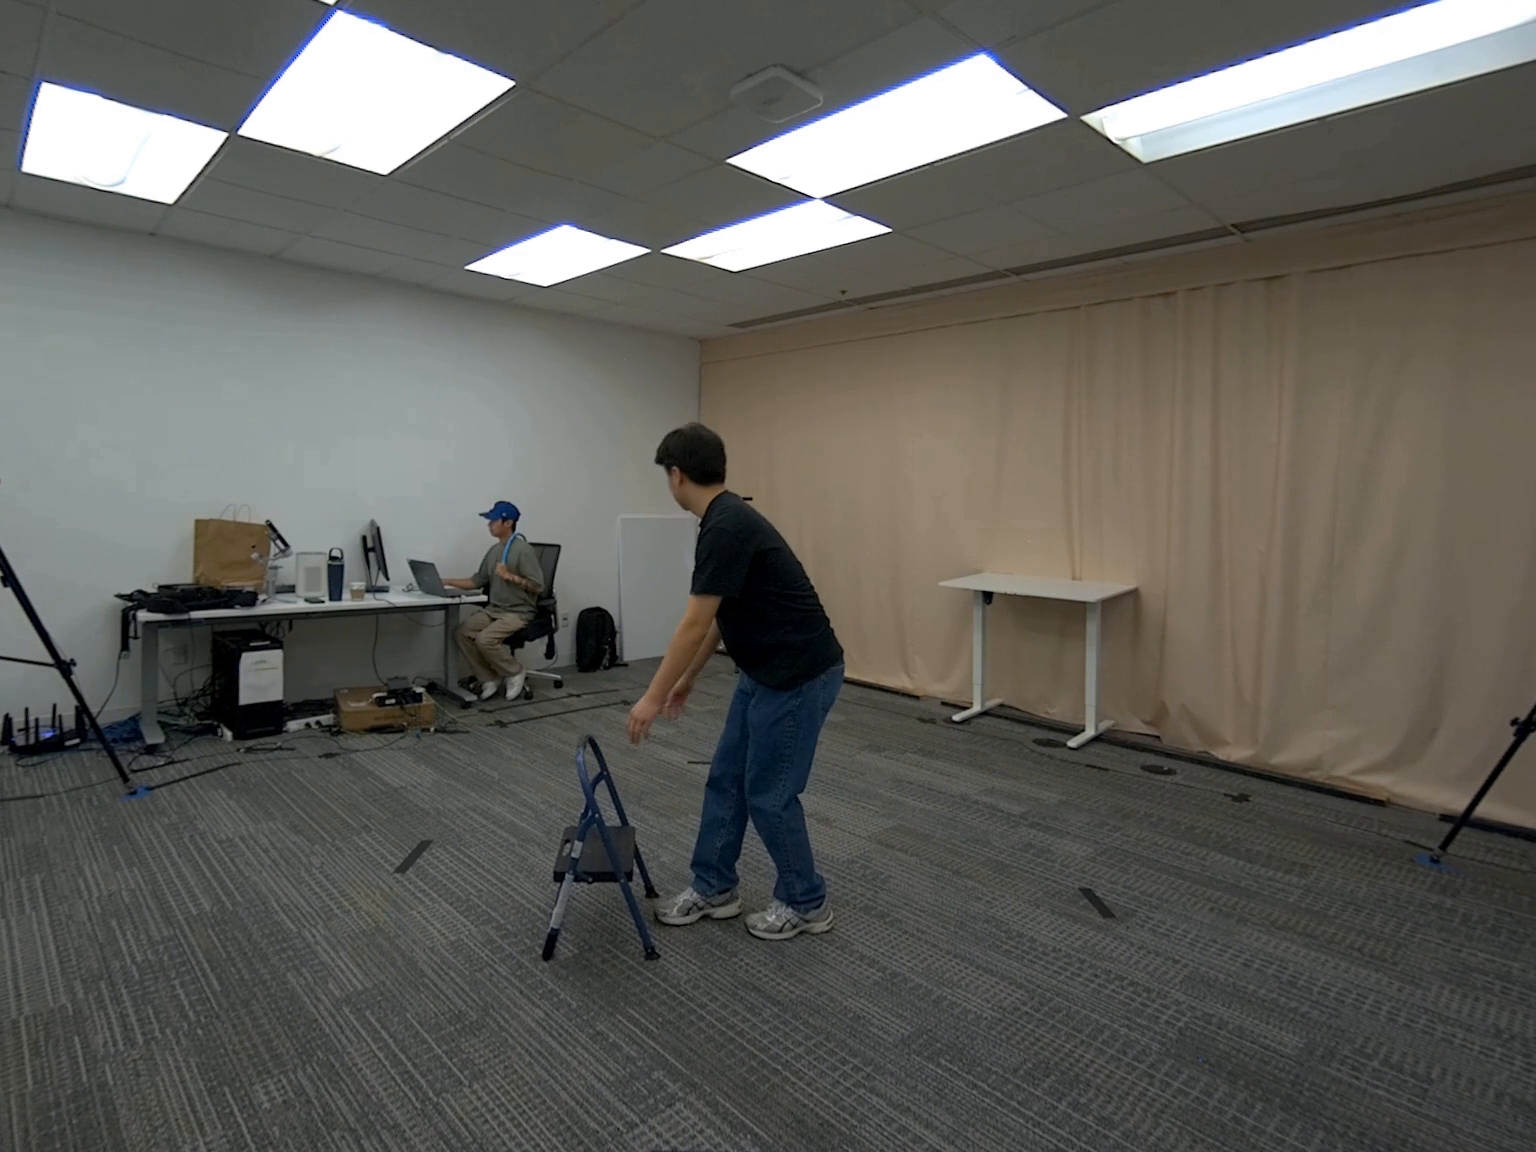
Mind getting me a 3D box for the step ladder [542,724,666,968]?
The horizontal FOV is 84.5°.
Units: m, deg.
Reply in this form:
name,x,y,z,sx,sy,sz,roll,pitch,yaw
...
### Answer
name,x,y,z,sx,sy,sz,roll,pitch,yaw
step ladder,-0.518,0.833,2.711,0.347,0.605,0.434,1,3,-8
